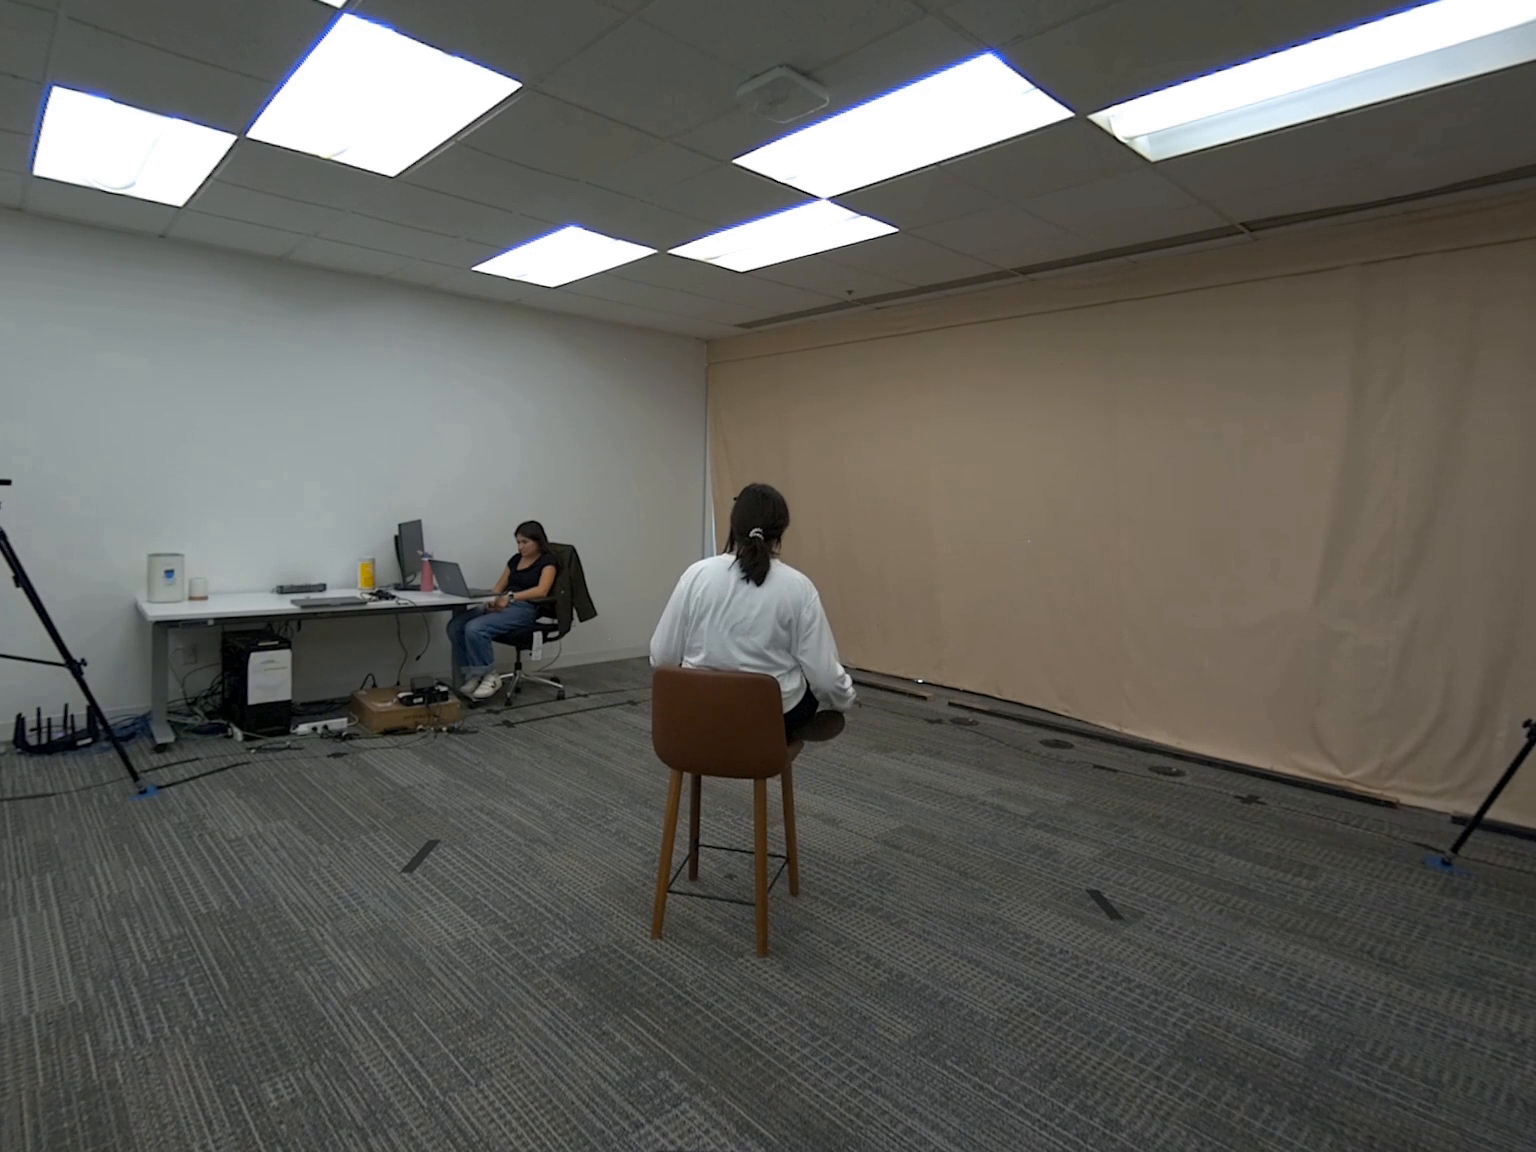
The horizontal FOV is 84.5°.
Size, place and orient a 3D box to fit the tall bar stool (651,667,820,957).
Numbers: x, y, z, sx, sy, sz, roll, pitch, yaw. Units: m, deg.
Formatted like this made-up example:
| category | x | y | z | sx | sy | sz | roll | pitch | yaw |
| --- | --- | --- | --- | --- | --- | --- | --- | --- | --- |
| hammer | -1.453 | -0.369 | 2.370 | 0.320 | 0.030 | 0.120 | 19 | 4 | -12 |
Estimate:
| category | x | y | z | sx | sy | sz | roll | pitch | yaw |
| --- | --- | --- | --- | --- | --- | --- | --- | --- | --- |
| tall bar stool | -0.140 | 0.709 | 2.786 | 0.462 | 0.886 | 0.463 | 3 | 6 | 16 |
